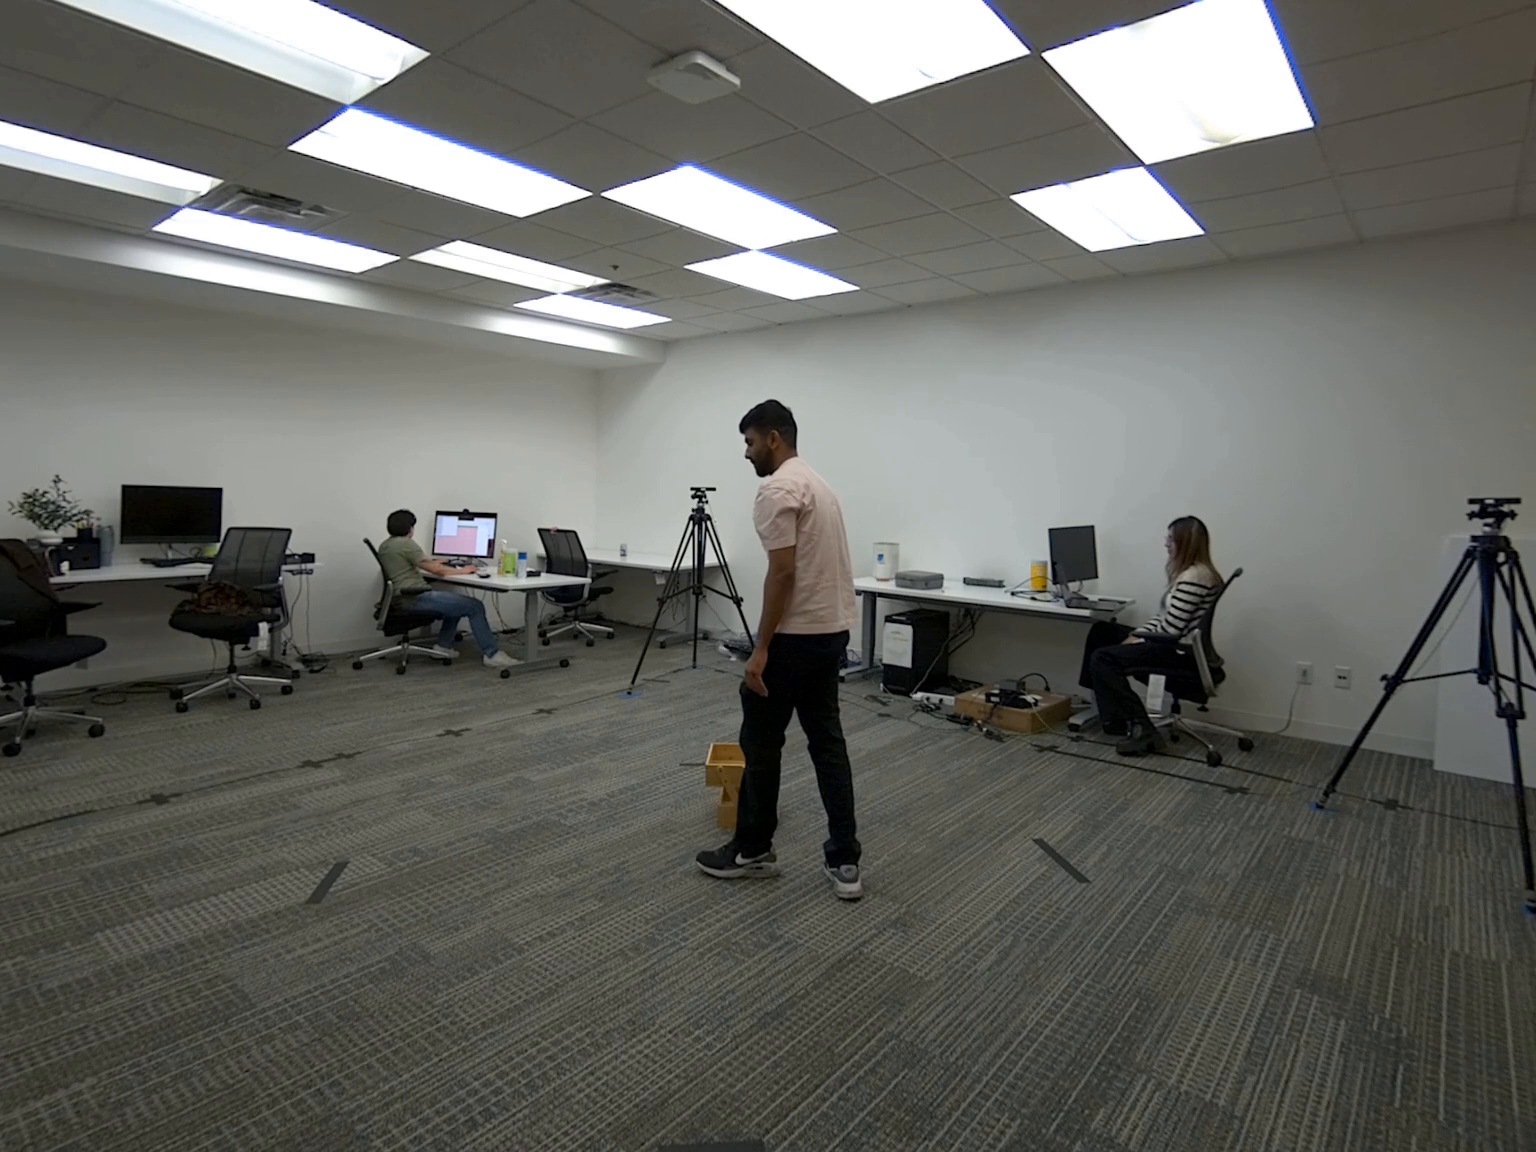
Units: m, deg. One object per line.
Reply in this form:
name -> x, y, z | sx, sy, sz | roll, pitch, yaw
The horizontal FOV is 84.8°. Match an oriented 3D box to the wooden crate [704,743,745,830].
wooden crate -> -0.114, 0.881, 3.628 | 0.303, 0.272, 0.325 | 1, 5, 1
